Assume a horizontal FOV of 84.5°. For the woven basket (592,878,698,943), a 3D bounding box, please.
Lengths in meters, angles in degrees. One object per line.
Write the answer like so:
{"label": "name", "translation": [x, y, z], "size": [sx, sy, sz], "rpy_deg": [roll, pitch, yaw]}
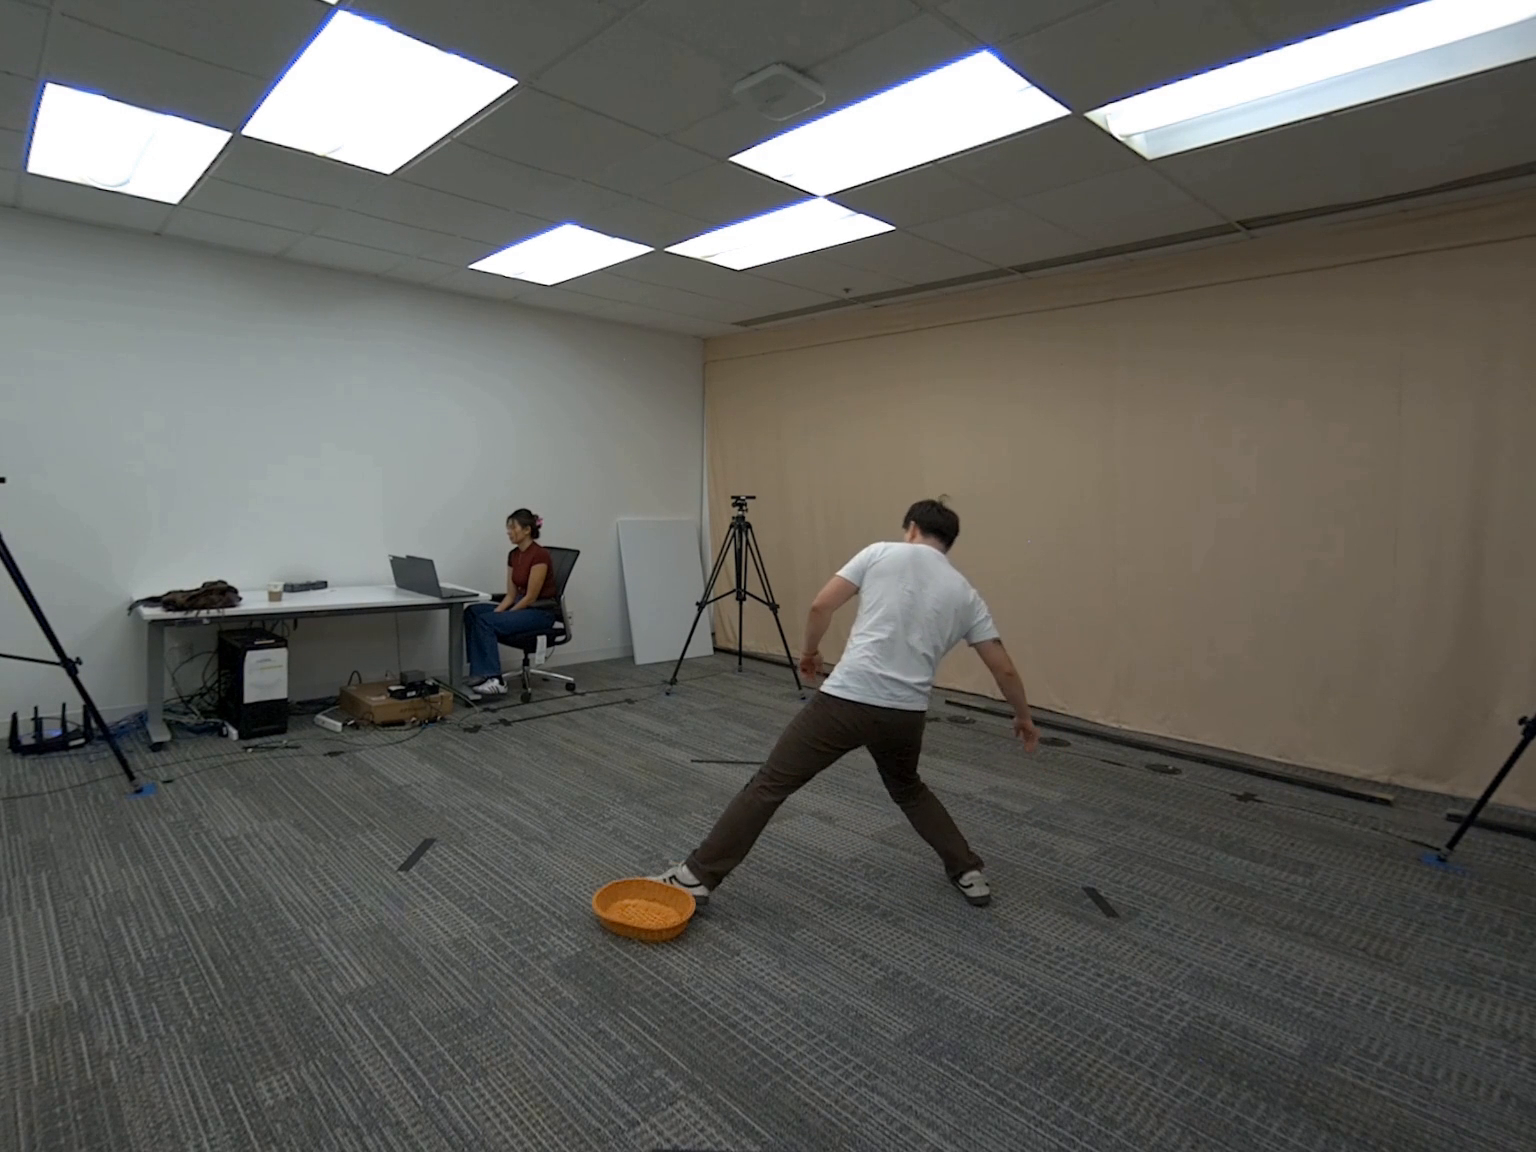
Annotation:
{"label": "woven basket", "translation": [-0.405, 1.088, 2.725], "size": [0.358, 0.073, 0.249], "rpy_deg": [5, 12, 27]}
